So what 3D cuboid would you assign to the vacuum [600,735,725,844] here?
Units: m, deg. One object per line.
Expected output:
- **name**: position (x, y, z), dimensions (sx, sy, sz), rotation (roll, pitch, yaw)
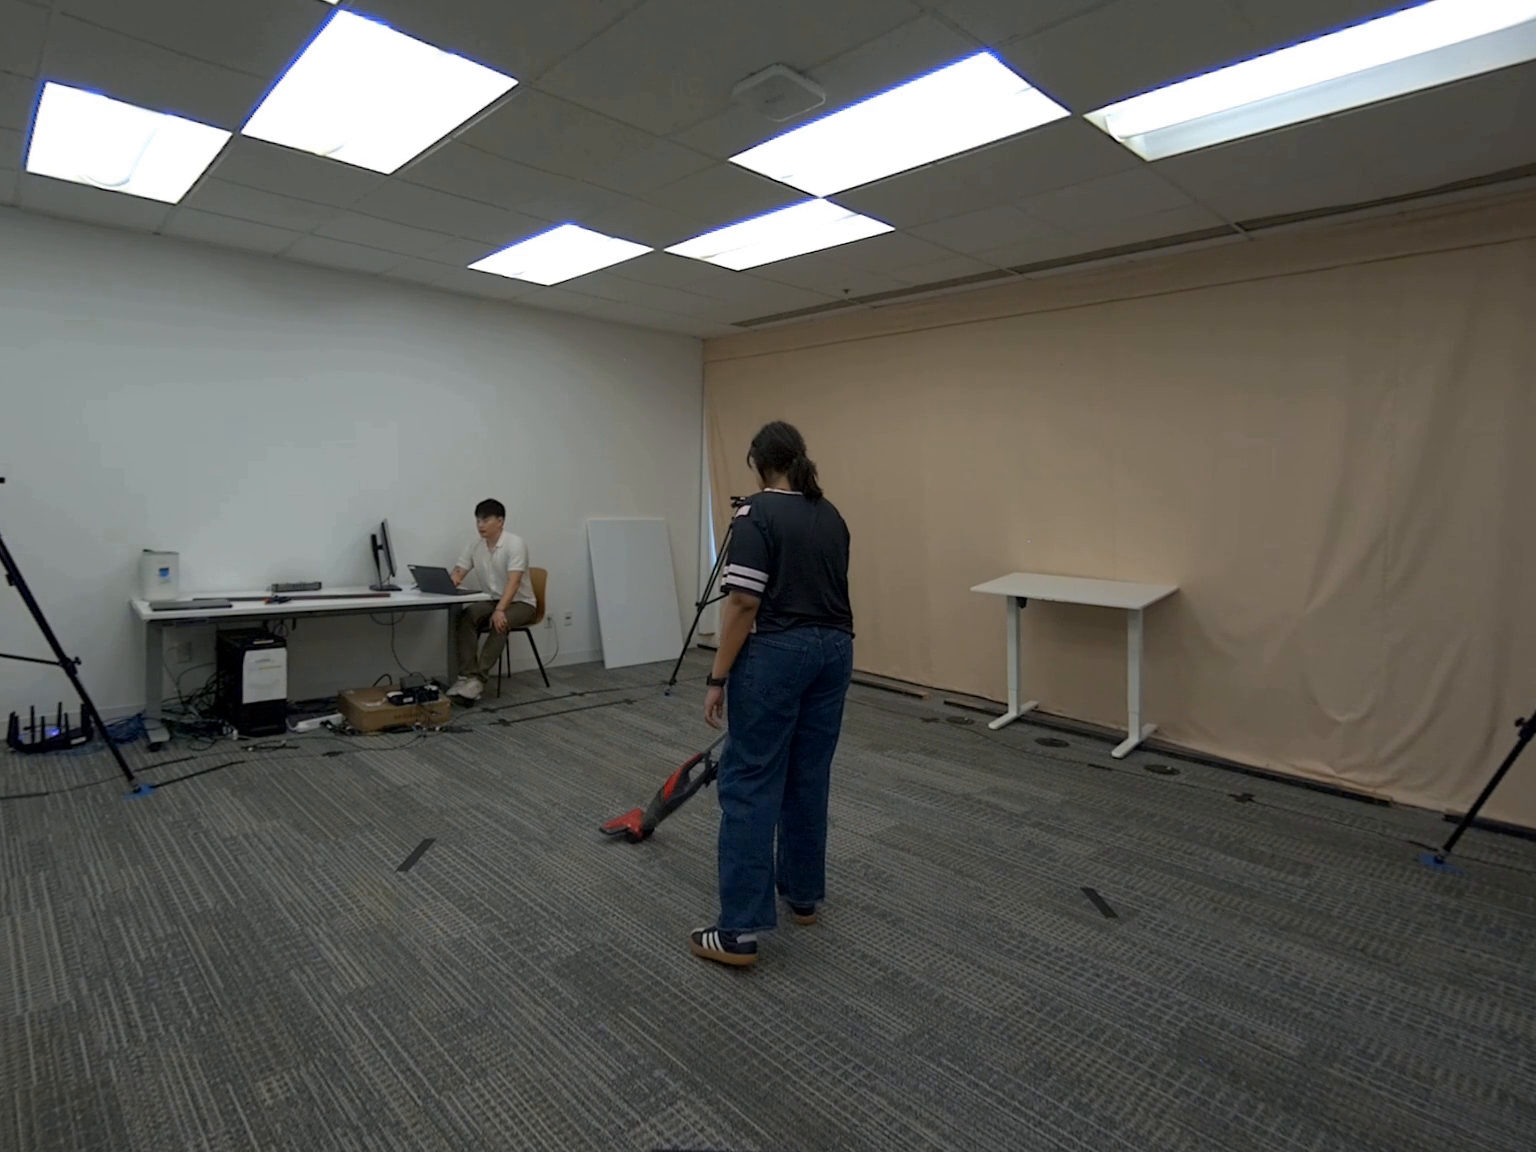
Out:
- **vacuum**: position (-0.234, 0.715, 3.223), dimensions (1.050, 0.146, 0.248), rotation (-44, -17, 26)
